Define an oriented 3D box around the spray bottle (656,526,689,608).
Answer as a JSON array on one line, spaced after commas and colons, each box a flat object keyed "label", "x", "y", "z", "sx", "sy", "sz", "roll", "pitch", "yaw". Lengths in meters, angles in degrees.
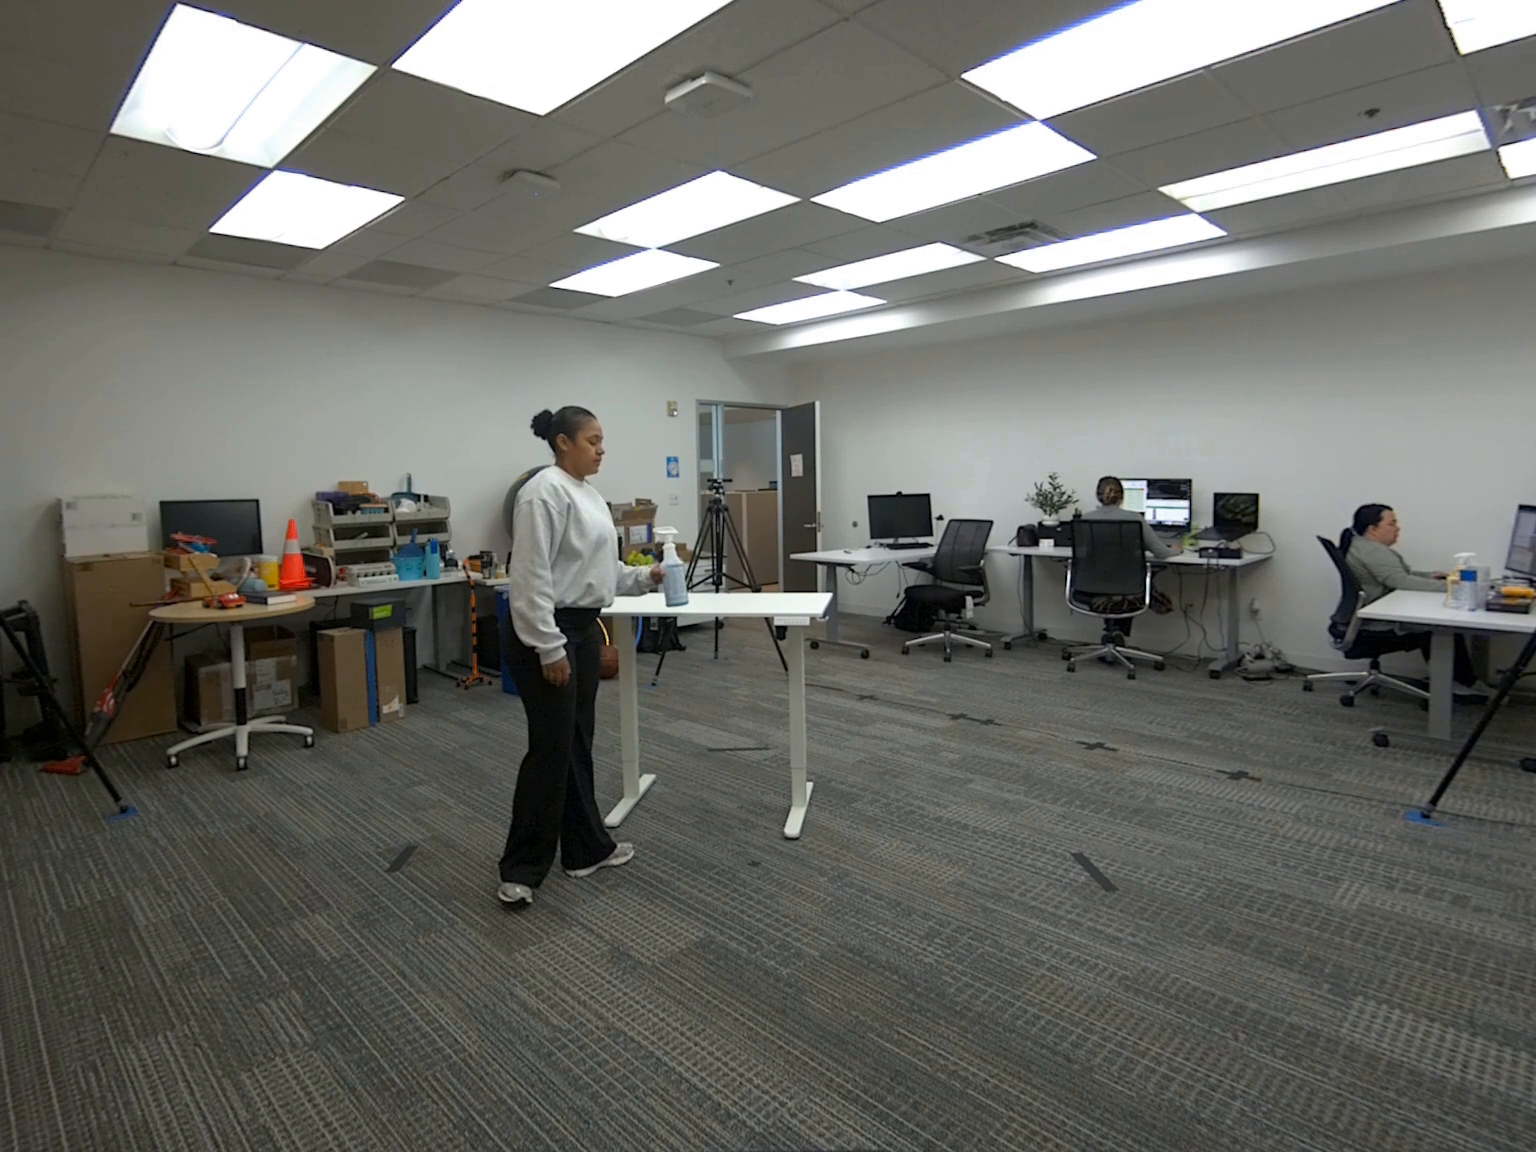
[{"label": "spray bottle", "x": -0.370, "y": -0.031, "z": 3.158, "sx": 0.091, "sy": 0.297, "sz": 0.086, "roll": -8, "pitch": 2, "yaw": 11}]
